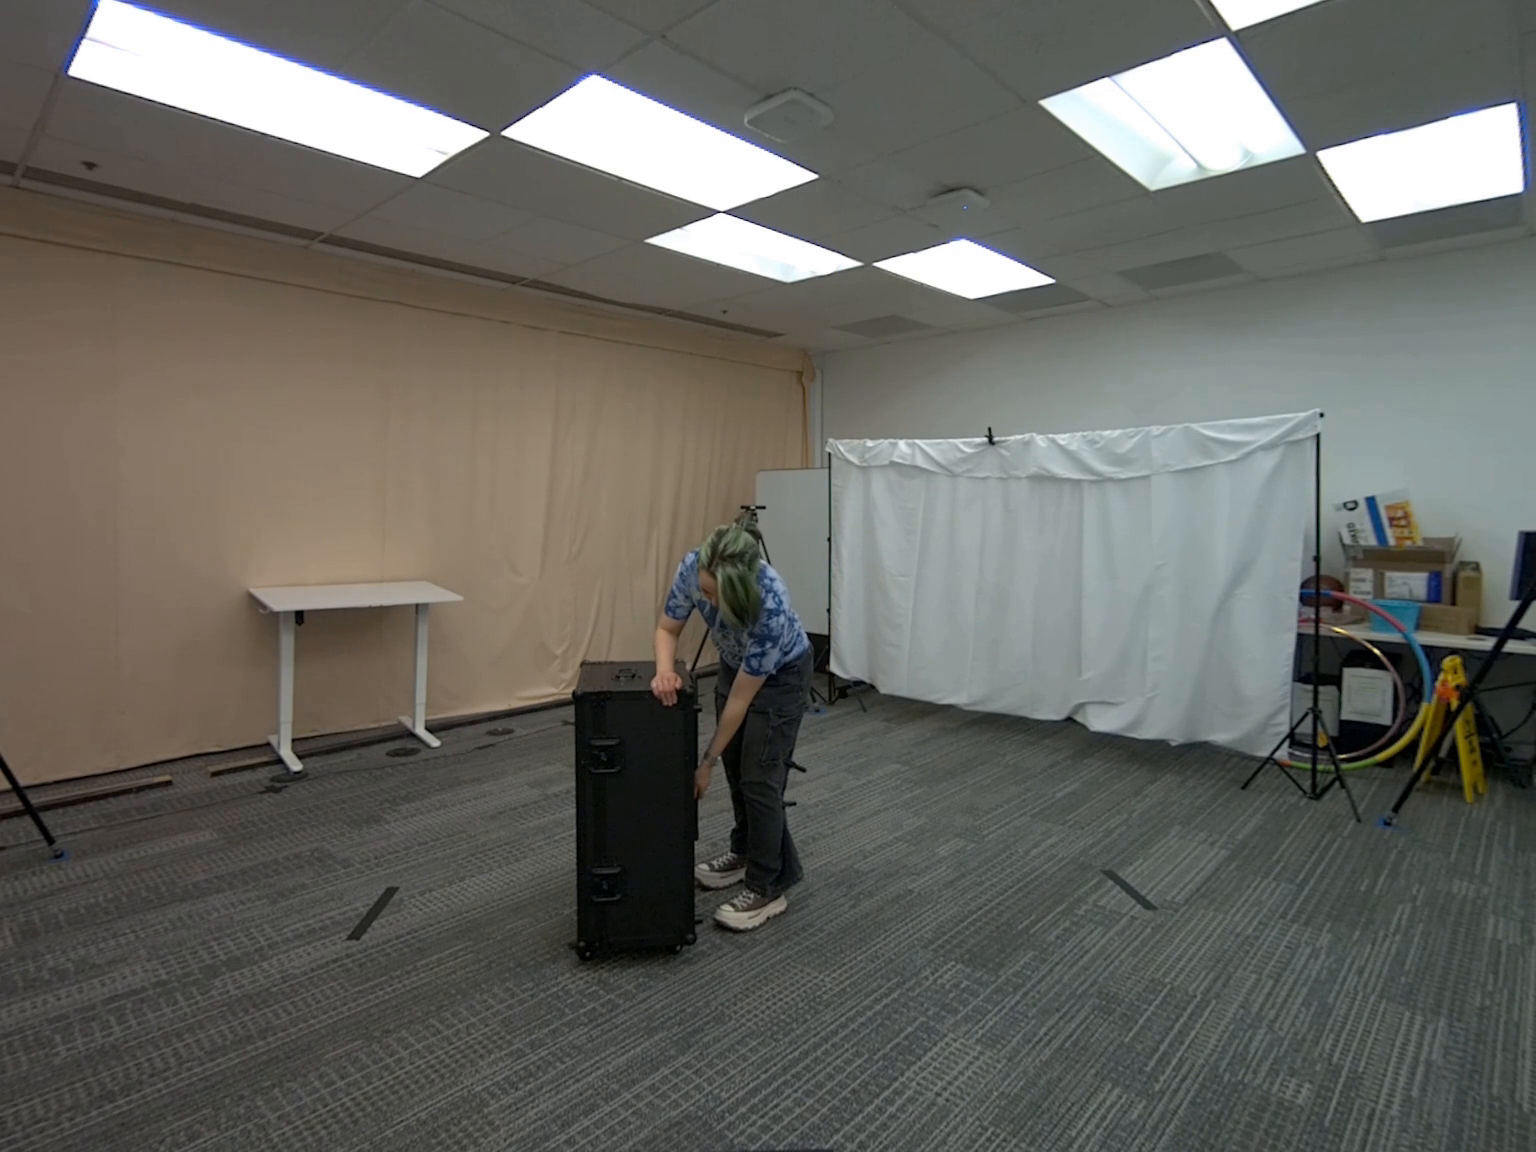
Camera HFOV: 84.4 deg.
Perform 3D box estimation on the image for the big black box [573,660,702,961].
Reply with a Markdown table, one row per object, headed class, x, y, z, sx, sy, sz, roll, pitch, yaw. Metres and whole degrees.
| class | x | y | z | sx | sy | sz | roll | pitch | yaw |
| --- | --- | --- | --- | --- | --- | --- | --- | --- | --- |
| big black box | -0.431 | 0.751 | 2.739 | 0.393 | 0.860 | 0.526 | 0 | 2 | -8 |
